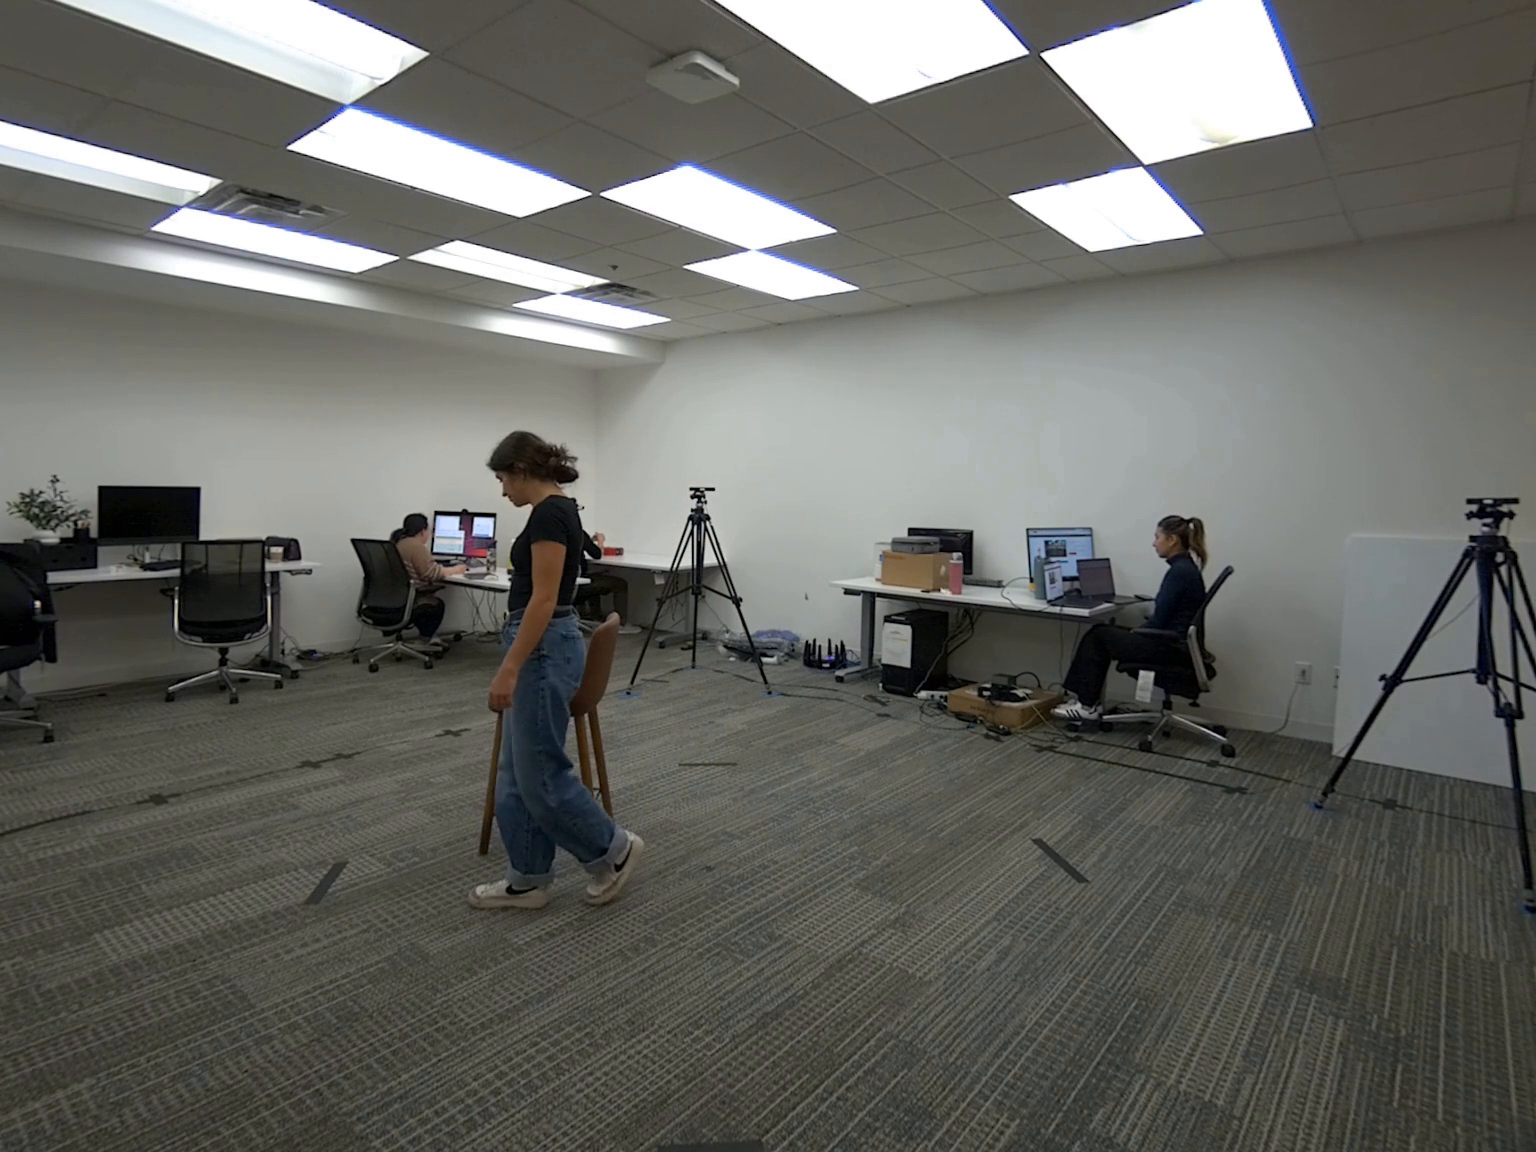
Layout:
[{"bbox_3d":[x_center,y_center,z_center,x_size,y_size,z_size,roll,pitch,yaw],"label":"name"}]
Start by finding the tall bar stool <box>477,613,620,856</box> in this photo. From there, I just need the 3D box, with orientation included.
[{"bbox_3d":[-0.864,0.597,3.362,0.469,0.888,0.457,3,2,1],"label":"tall bar stool"}]
